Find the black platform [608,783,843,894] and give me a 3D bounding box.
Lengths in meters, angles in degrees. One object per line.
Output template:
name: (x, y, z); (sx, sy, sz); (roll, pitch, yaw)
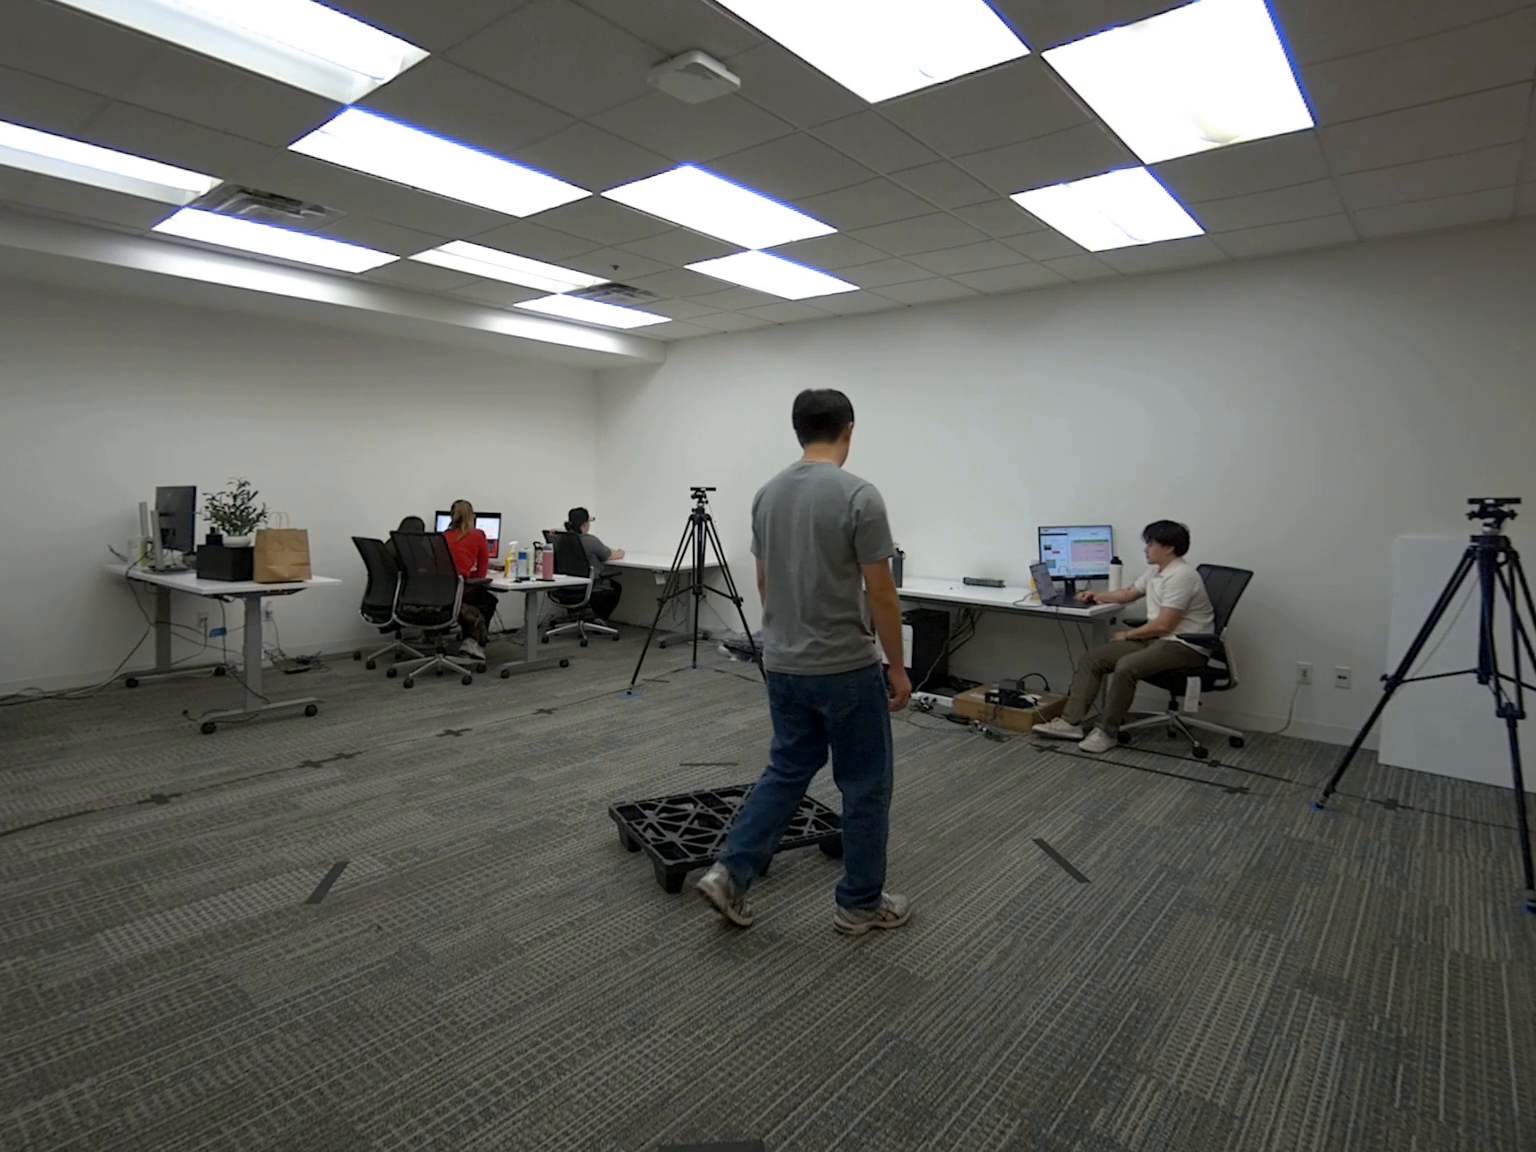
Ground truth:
black platform: (-0.148, 0.984, 3.267); (0.785, 0.142, 0.624); (-2, 7, -28)
